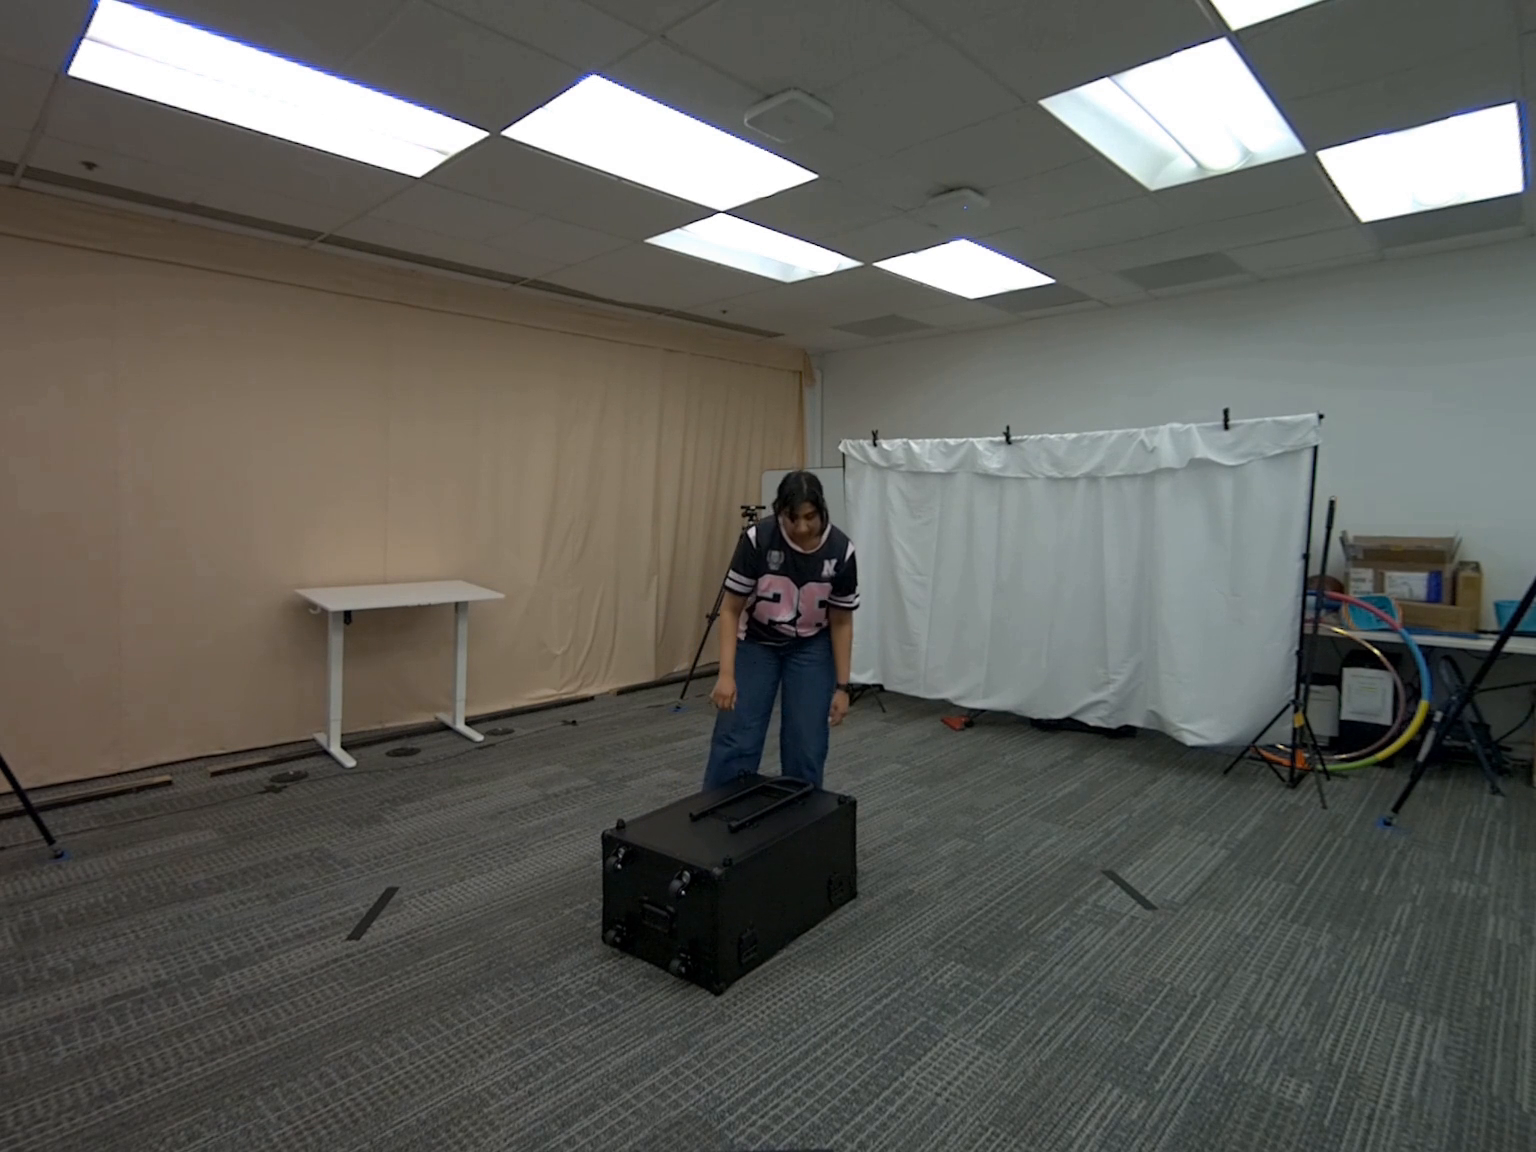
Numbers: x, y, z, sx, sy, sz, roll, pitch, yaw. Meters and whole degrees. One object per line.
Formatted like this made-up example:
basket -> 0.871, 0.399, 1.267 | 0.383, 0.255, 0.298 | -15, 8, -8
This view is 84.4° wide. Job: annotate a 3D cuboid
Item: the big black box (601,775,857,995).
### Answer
big black box -> -0.121, 0.976, 2.795 | 0.540, 0.384, 0.843 | 5, 7, 37
